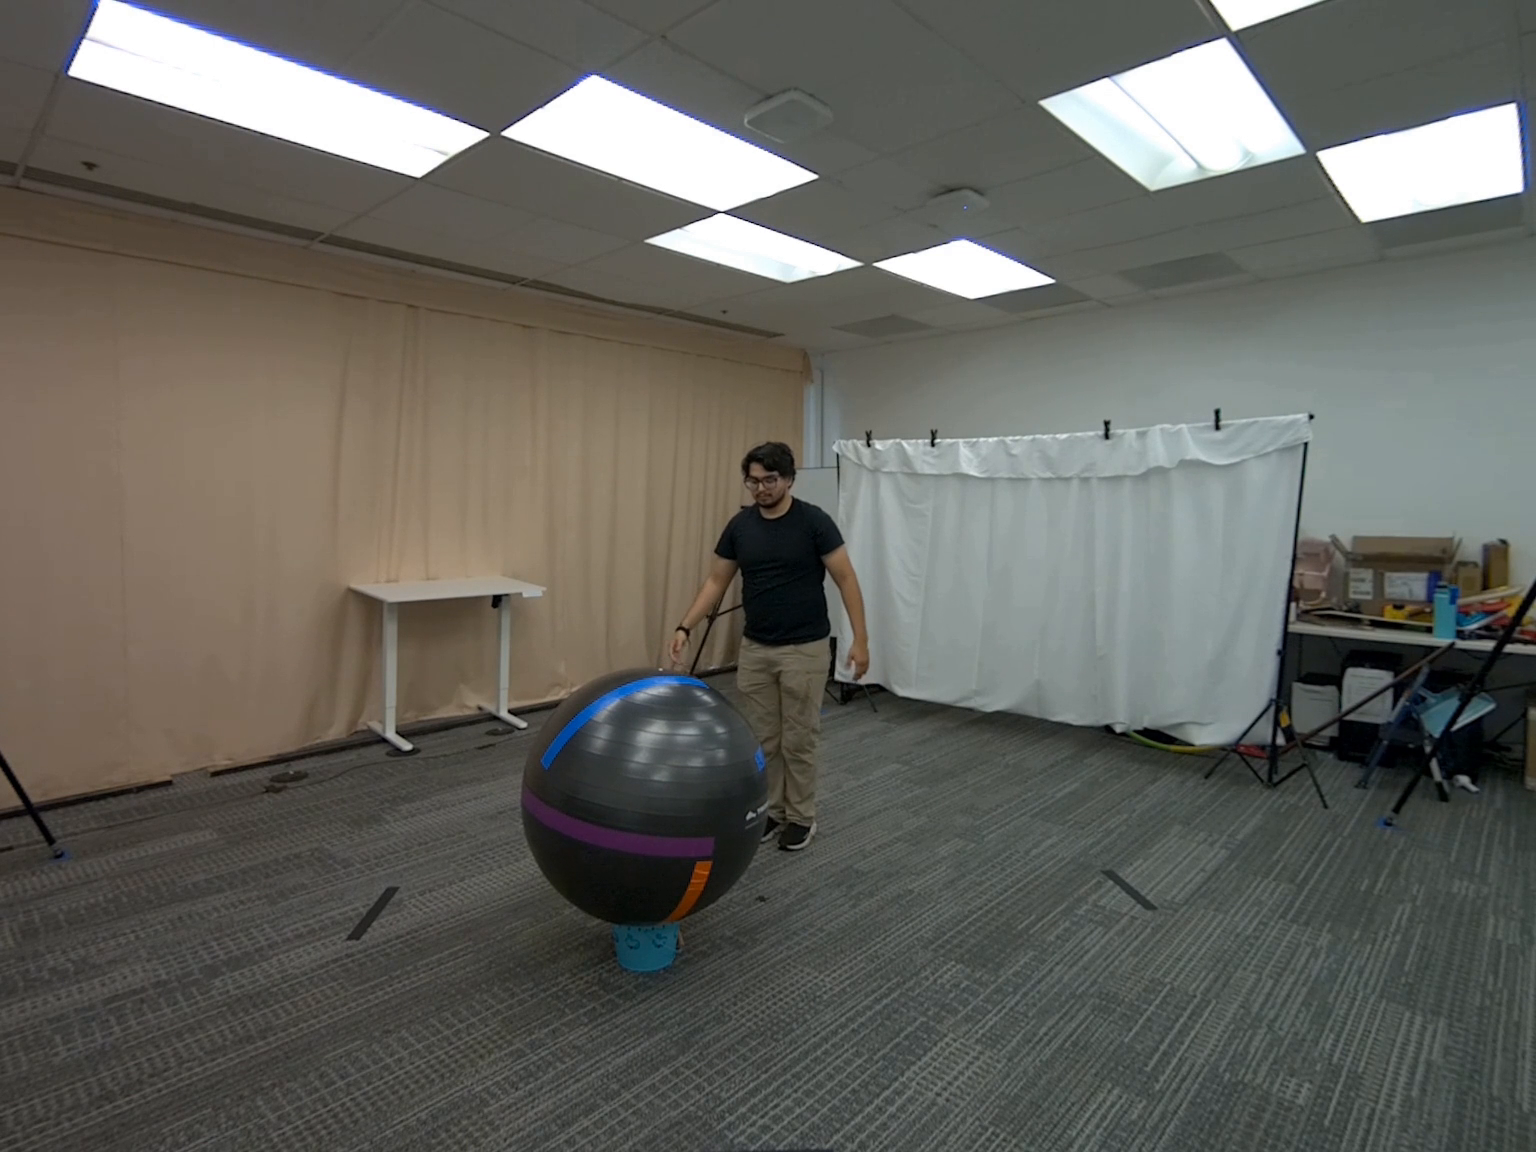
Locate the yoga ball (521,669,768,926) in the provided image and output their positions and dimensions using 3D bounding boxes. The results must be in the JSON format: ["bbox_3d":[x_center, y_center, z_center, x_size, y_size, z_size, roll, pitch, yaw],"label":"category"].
[{"bbox_3d":[-0.380,0.669,2.576,0.757,0.756,0.760,0,4,-2],"label":"yoga ball"}]
